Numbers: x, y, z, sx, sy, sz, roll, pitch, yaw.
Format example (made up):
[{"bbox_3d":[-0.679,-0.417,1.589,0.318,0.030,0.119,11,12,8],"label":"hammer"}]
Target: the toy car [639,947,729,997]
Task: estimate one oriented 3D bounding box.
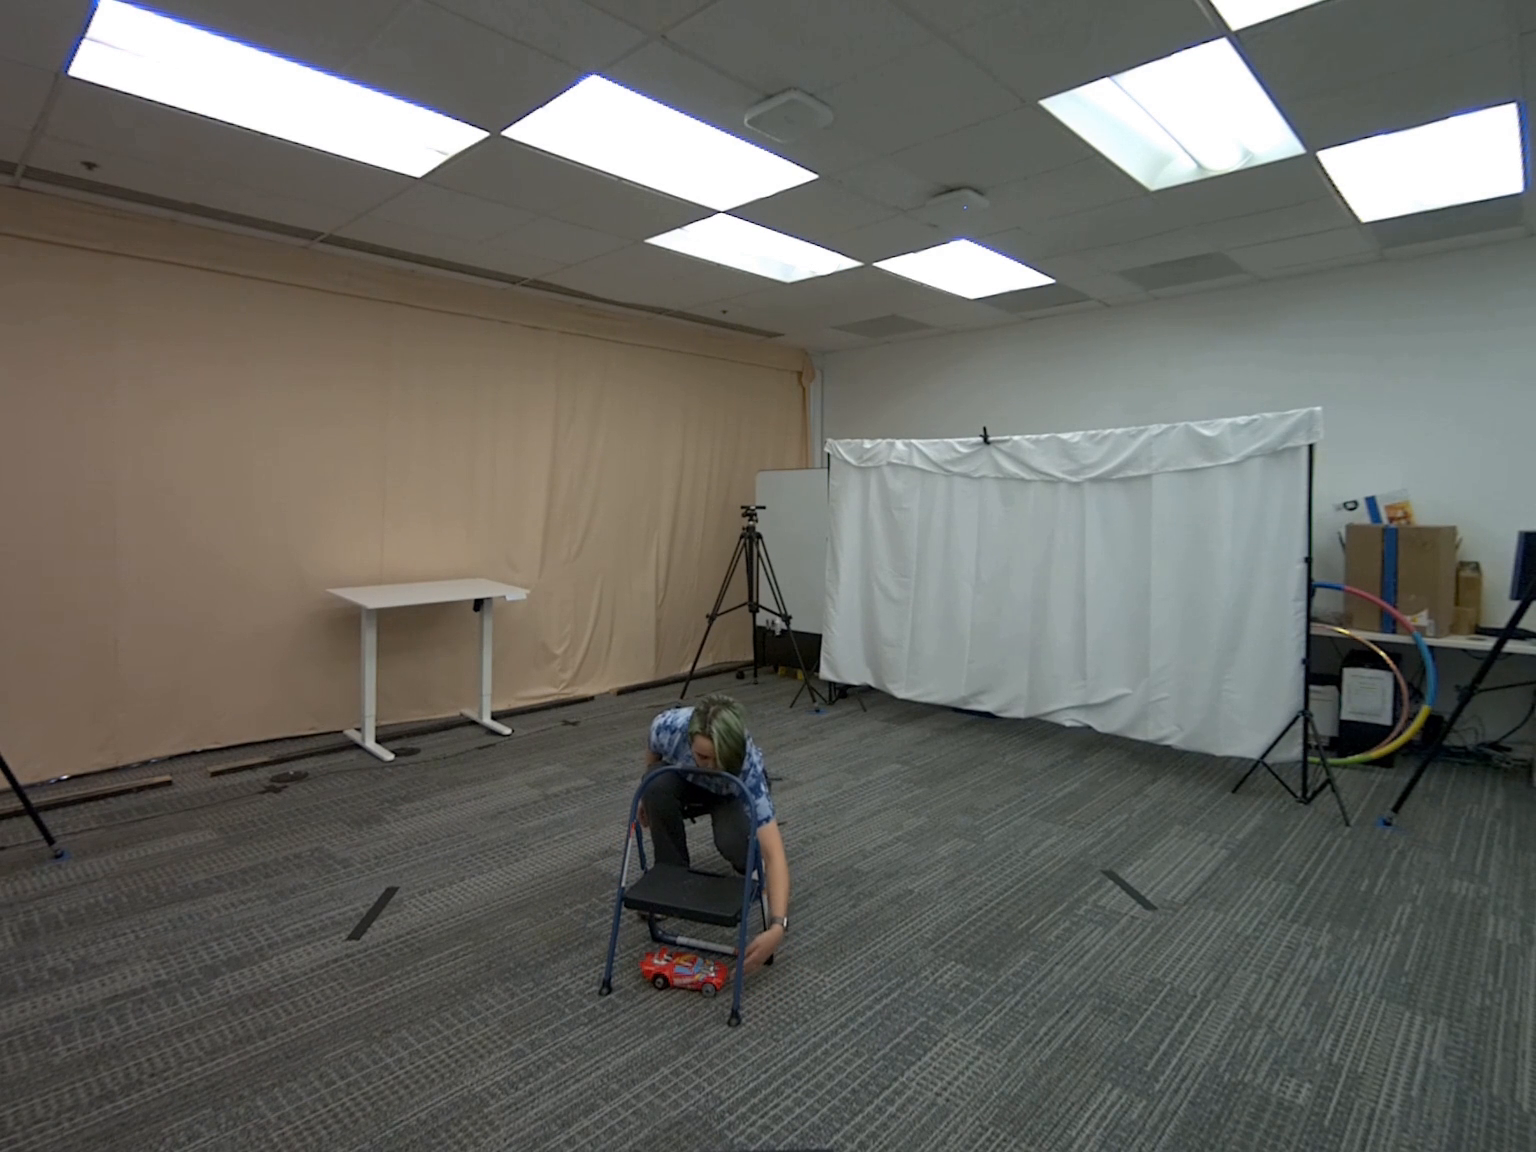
[{"bbox_3d":[-0.256,1.152,2.468,0.258,0.083,0.129,14,8,11],"label":"toy car"}]
